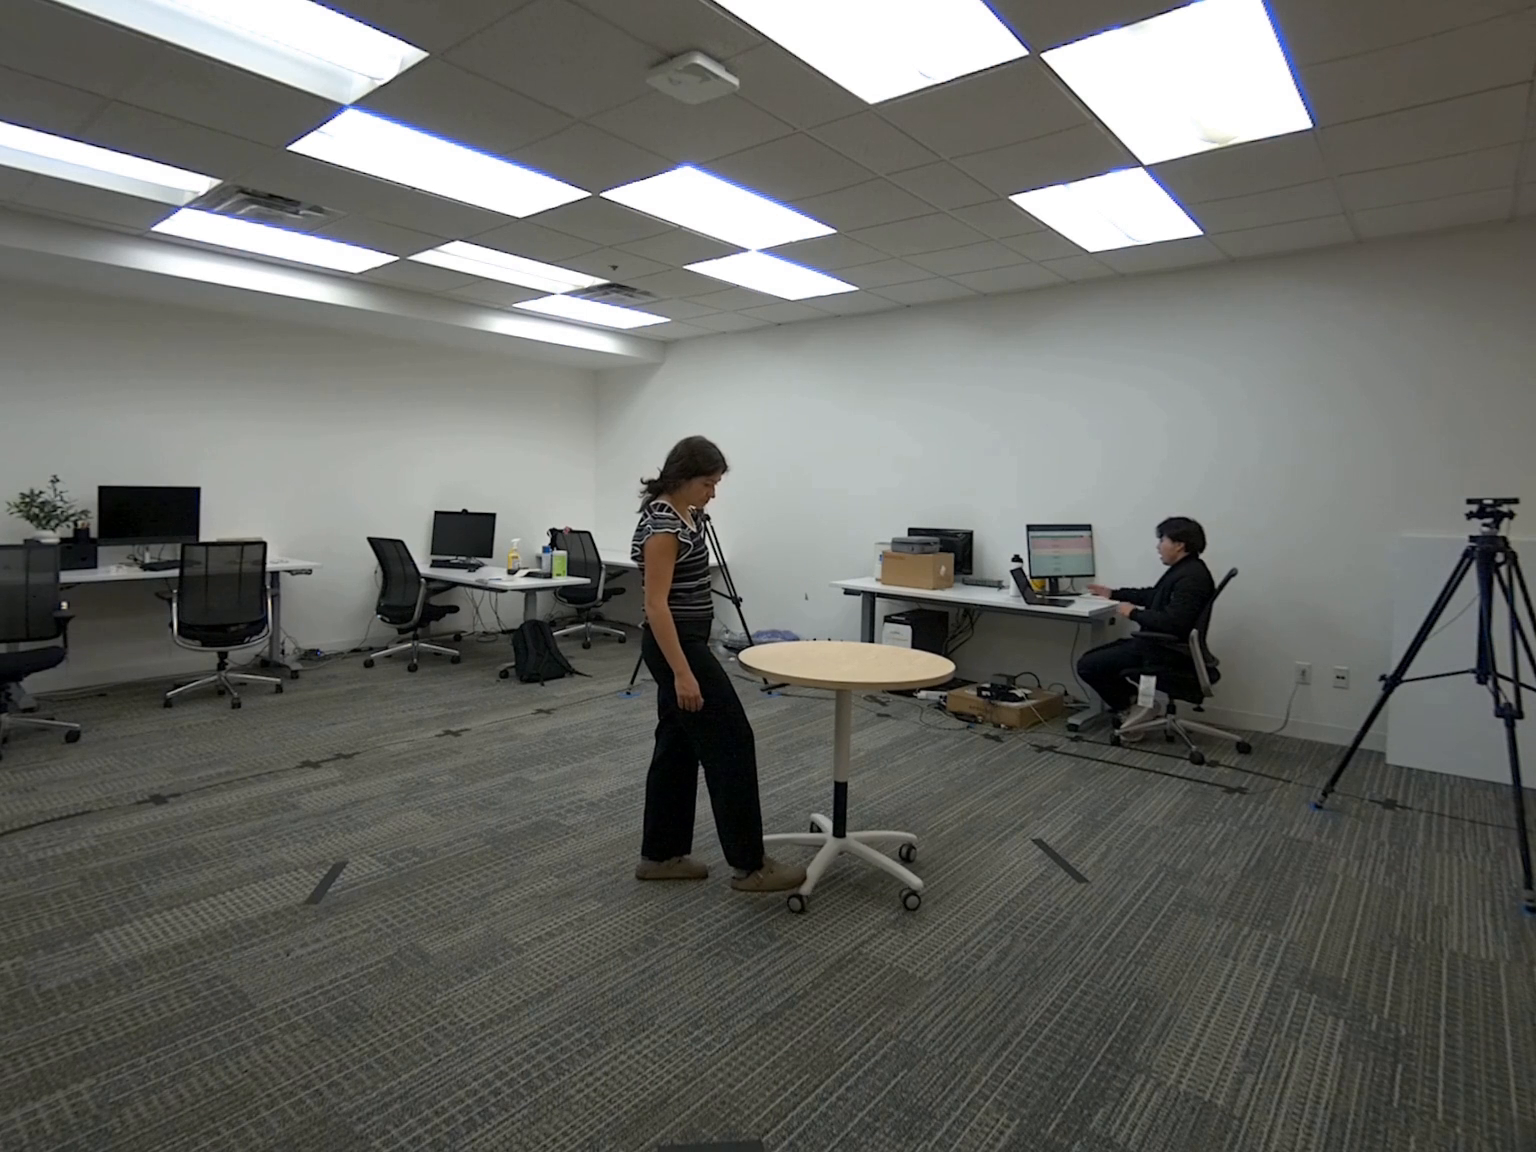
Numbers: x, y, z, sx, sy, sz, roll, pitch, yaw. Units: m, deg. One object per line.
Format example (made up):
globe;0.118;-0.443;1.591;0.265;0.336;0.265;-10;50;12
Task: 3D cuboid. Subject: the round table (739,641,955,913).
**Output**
round table;0.266;0.688;3.058;0.784;0.784;0.789;1;4;-2
